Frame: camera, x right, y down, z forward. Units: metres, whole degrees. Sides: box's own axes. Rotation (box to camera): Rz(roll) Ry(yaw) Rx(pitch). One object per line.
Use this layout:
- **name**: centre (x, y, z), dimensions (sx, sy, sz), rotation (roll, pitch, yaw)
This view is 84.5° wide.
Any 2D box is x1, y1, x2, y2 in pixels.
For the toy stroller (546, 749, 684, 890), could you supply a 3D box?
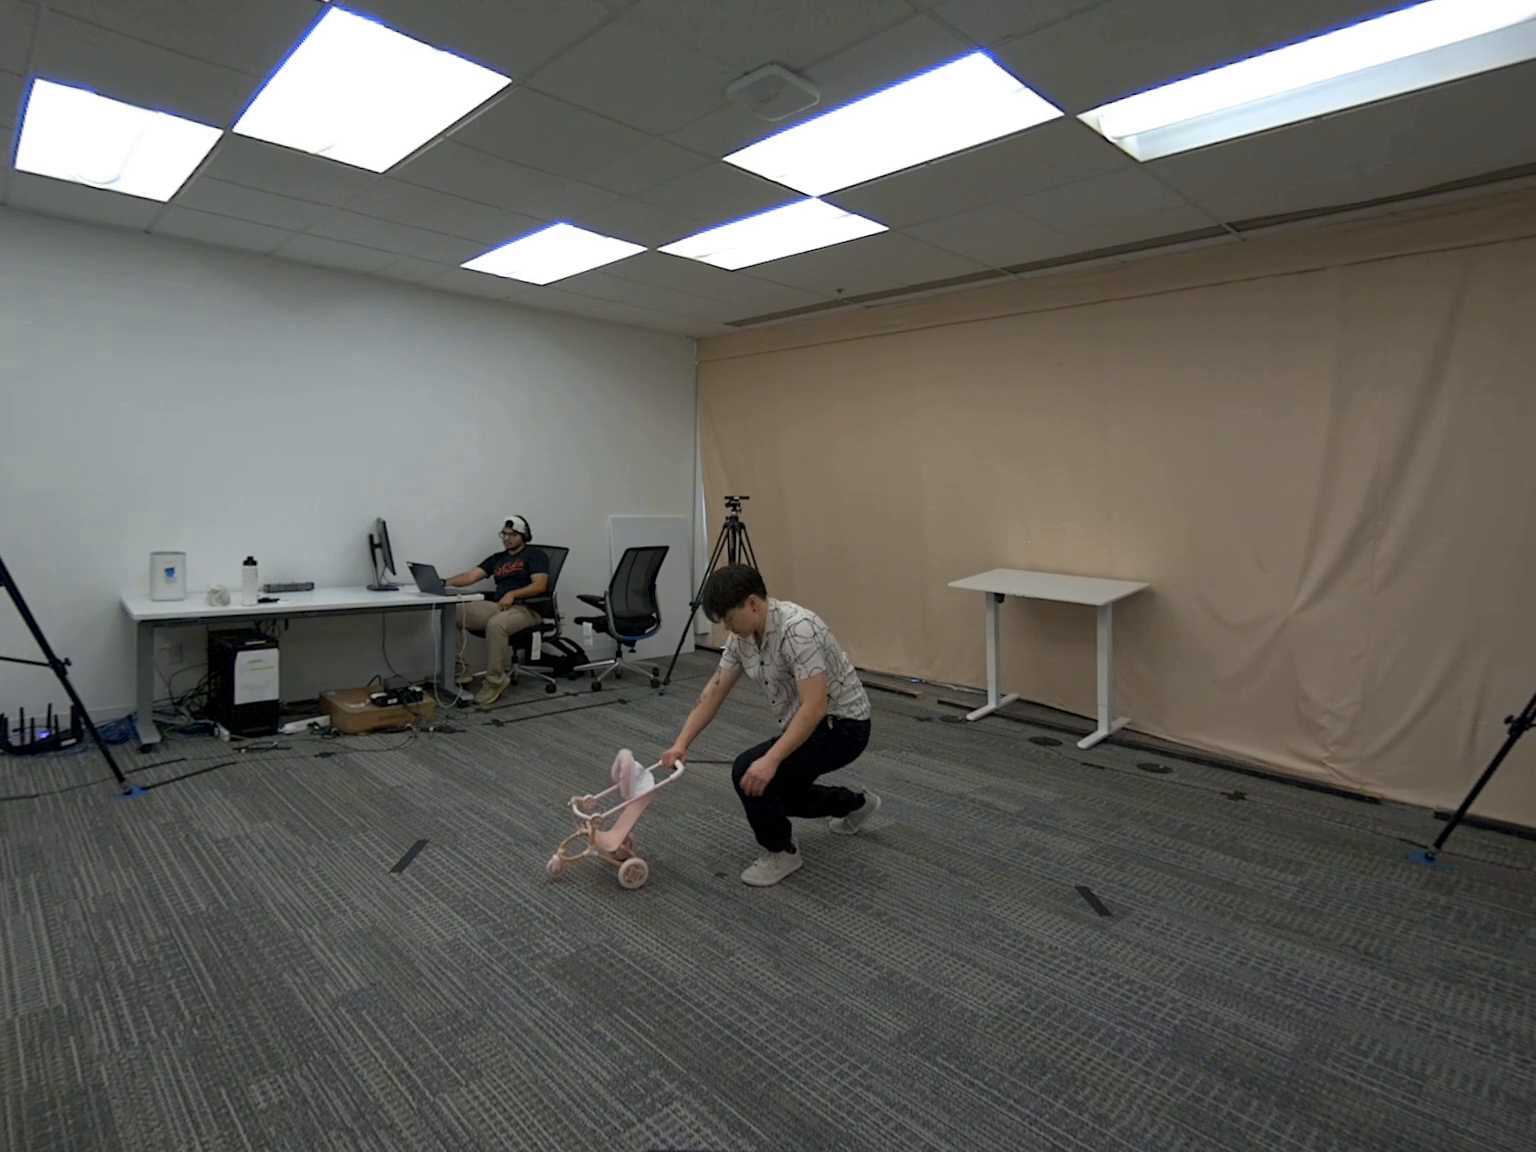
- **toy stroller**: centre (-0.568, 0.874, 3.072), dimensions (0.336, 0.535, 0.285), rotation (22, -2, -15)
